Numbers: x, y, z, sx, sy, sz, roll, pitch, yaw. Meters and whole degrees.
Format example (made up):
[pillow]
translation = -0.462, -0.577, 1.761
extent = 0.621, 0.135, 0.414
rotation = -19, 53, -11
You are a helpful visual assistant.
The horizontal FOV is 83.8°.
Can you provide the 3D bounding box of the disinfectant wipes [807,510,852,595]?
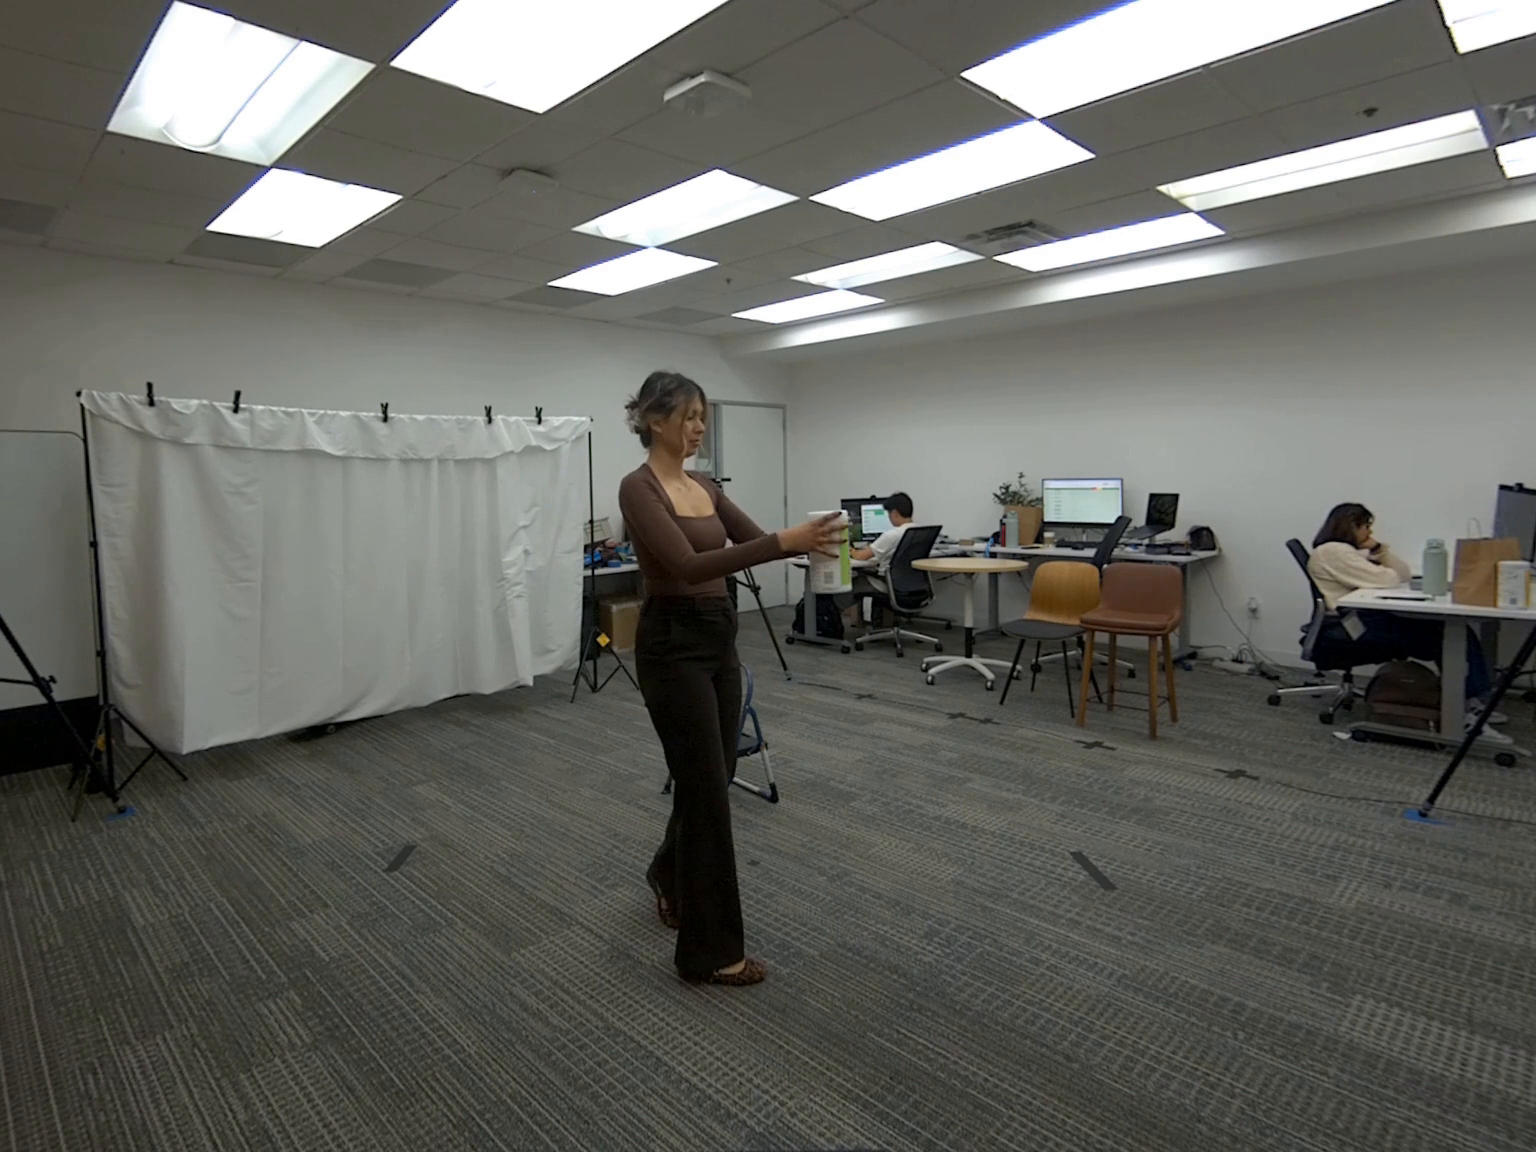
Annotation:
[disinfectant wipes]
translation = 0.159, -0.063, 2.258
extent = 0.118, 0.217, 0.118
rotation = -2, 1, -2
